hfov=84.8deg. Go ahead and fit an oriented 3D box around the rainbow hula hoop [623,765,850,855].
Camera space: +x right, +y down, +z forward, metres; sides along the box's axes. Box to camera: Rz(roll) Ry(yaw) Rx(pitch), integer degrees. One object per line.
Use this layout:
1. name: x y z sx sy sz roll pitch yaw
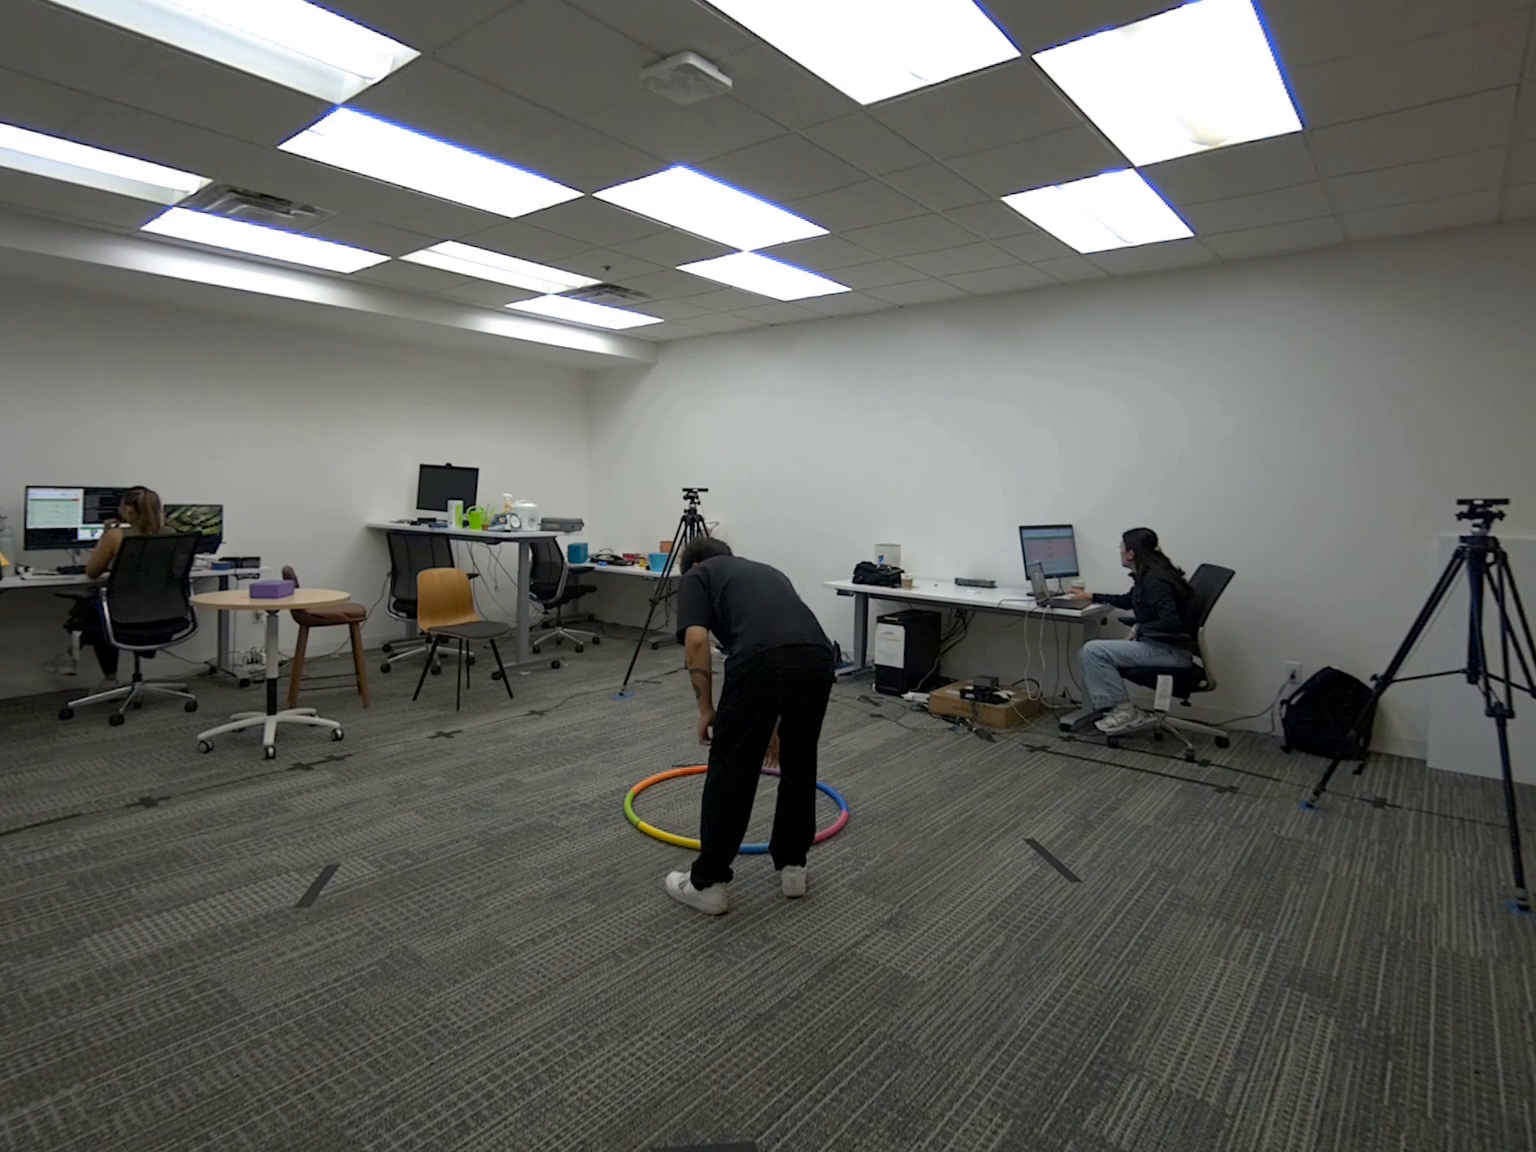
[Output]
1. rainbow hula hoop: -0.154 0.983 3.728 0.978 0.035 0.984 1 6 -2
